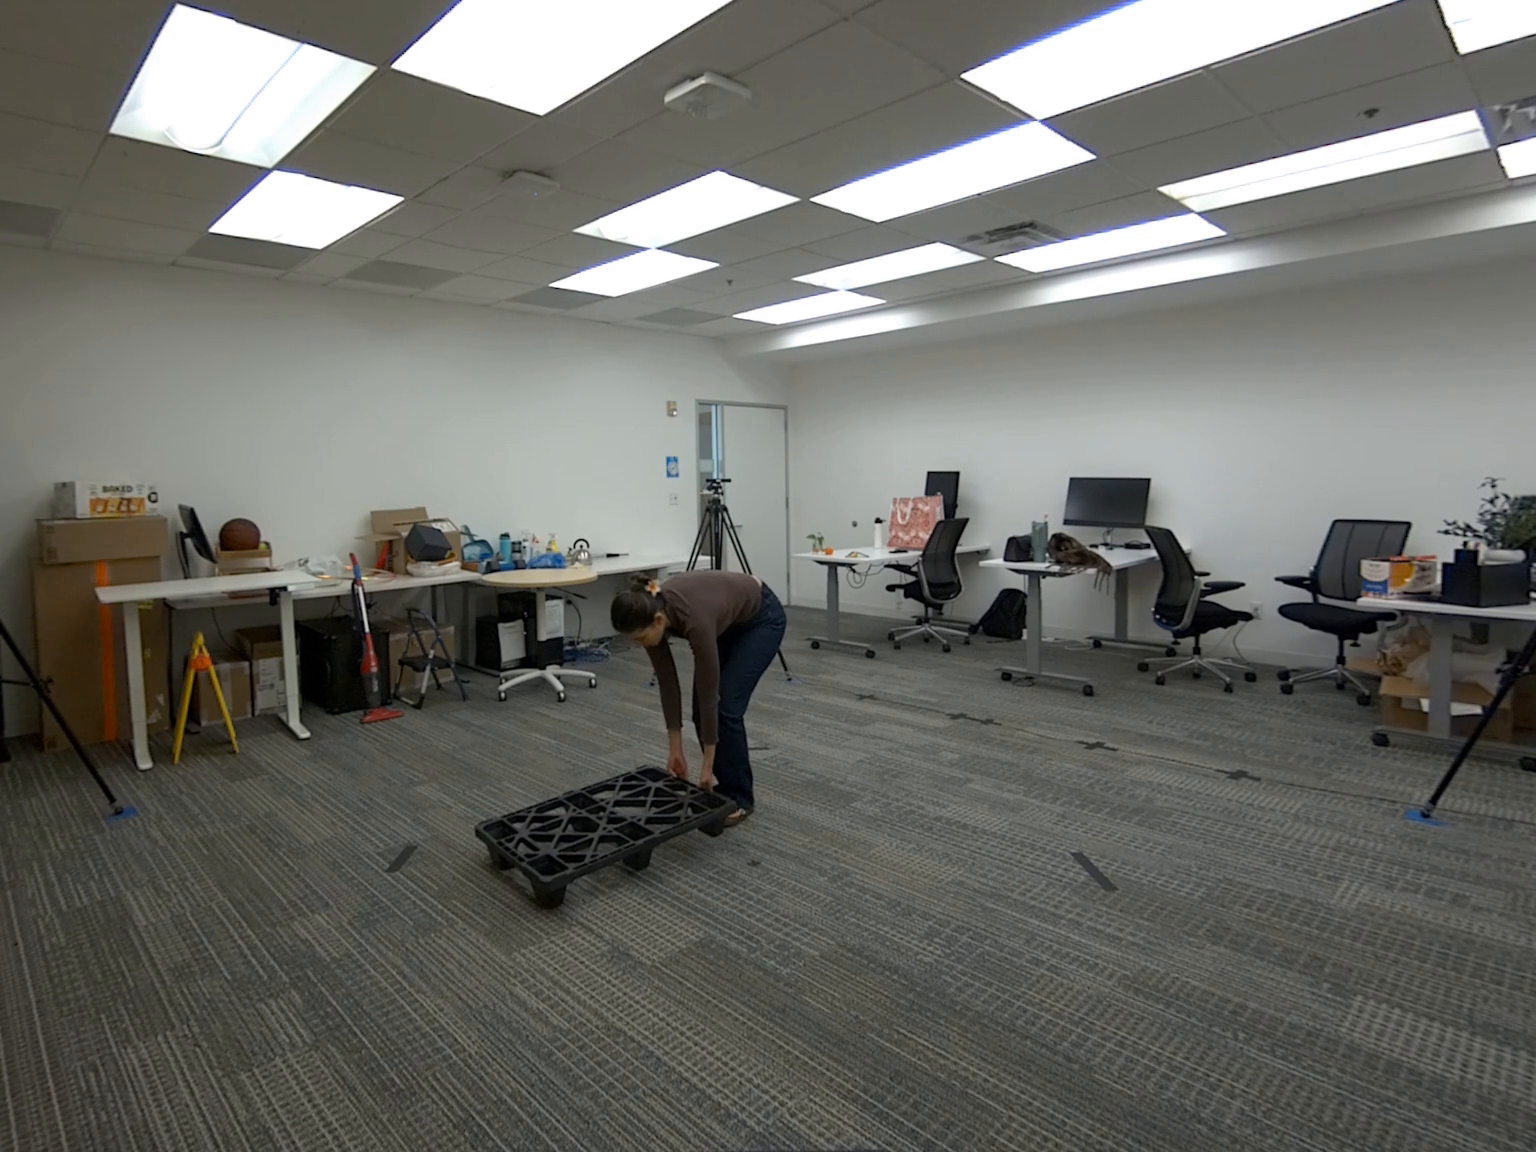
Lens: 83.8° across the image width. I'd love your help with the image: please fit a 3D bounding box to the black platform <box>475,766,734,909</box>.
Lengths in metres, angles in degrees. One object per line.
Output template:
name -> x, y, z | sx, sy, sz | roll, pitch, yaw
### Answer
black platform -> -0.593, 0.953, 3.196 | 0.787, 0.142, 0.624 | -12, 12, -39
